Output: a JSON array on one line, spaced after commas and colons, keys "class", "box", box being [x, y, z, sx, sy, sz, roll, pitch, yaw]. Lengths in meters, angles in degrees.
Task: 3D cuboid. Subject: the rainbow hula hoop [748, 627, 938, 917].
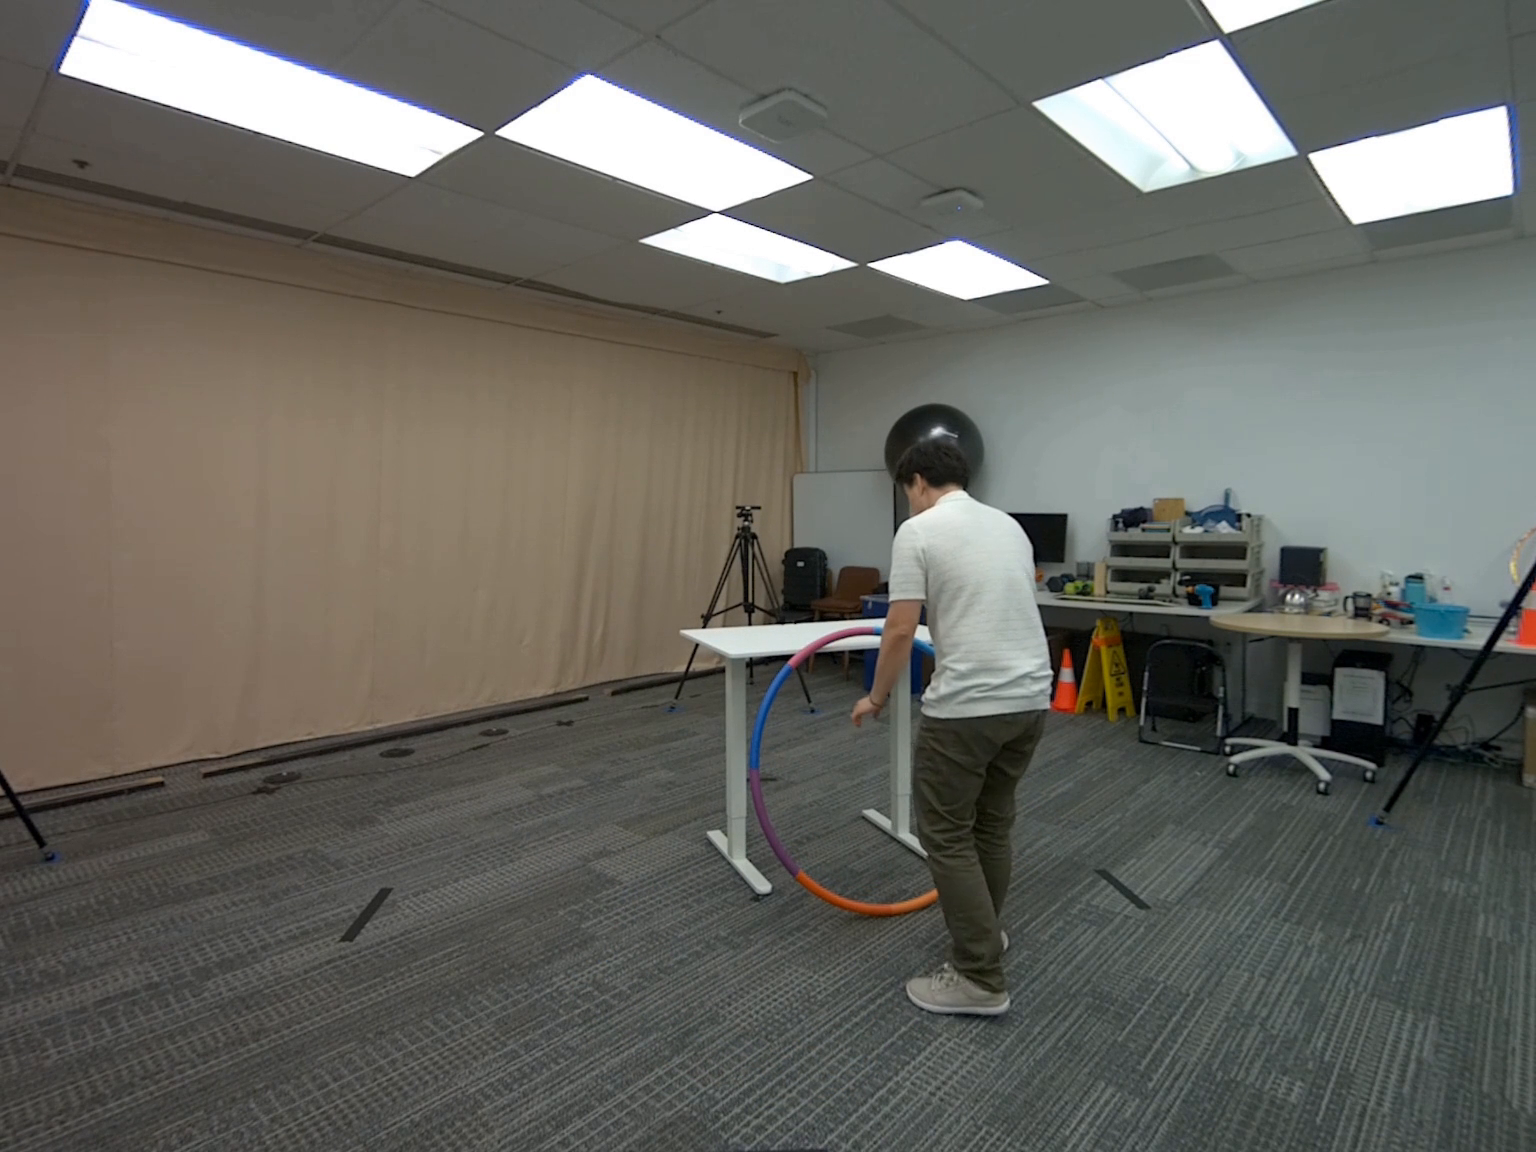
[{"class": "rainbow hula hoop", "box": [0.407, 0.669, 2.966, 0.959, 0.987, 0.036, -2, -12, -20]}]
